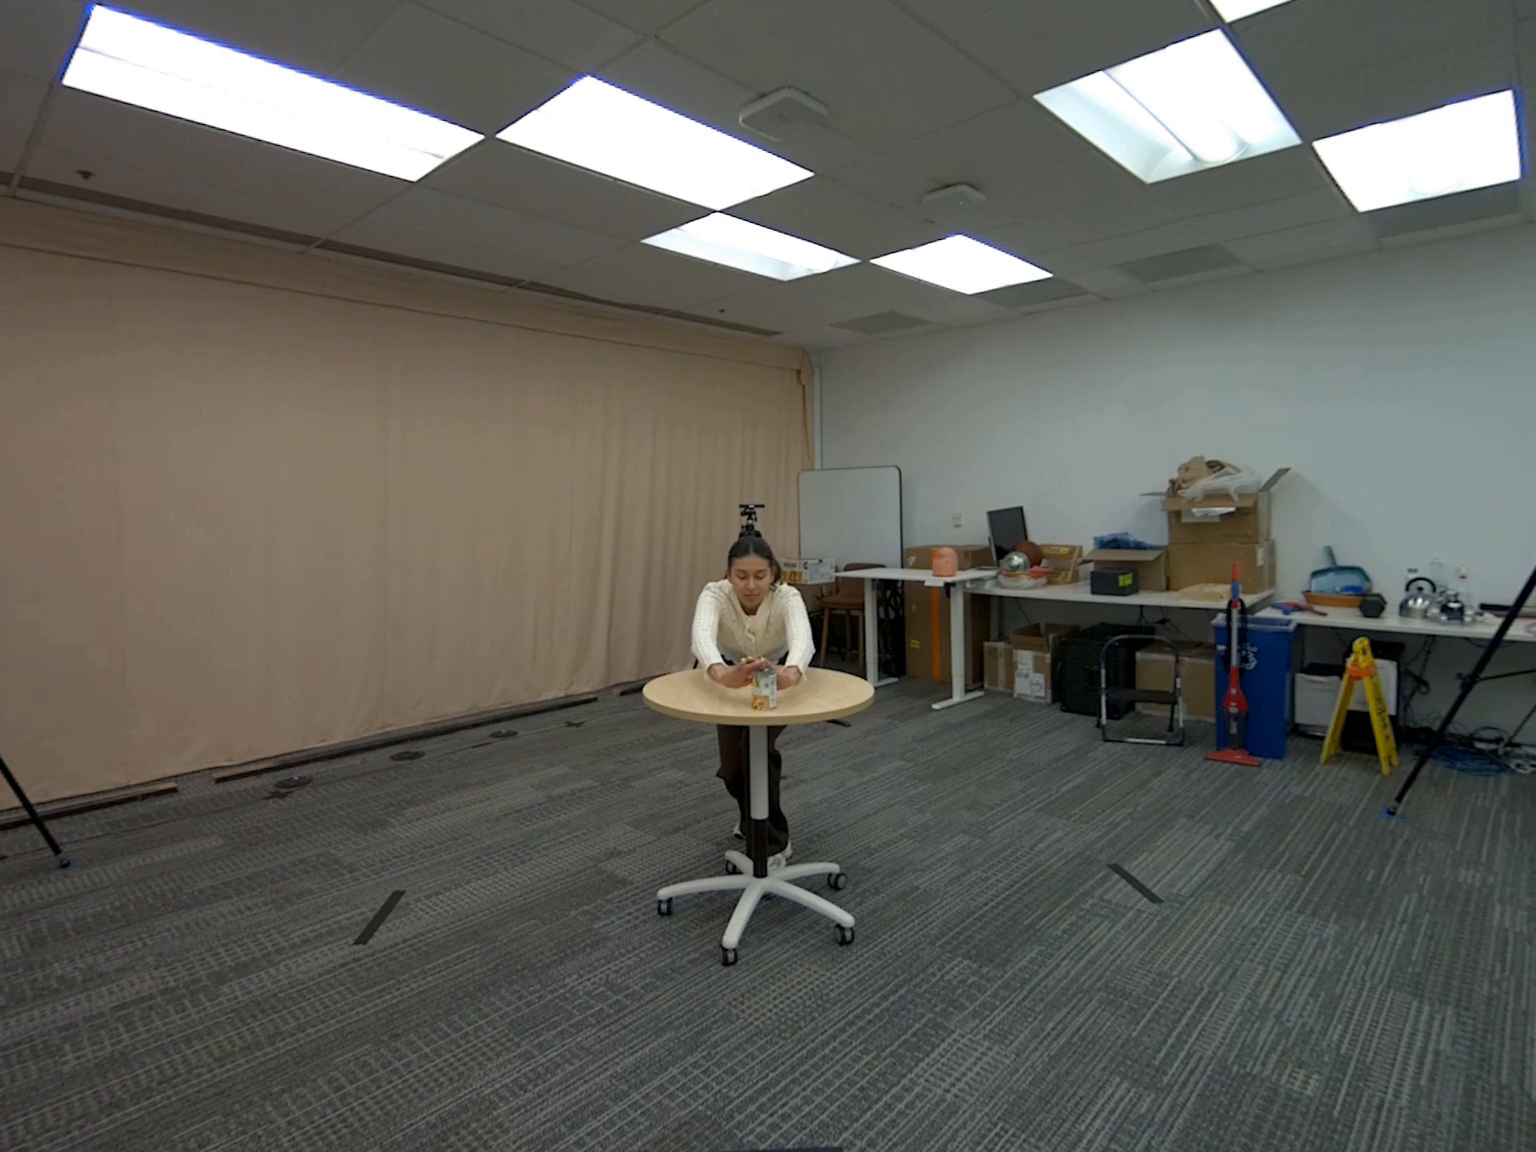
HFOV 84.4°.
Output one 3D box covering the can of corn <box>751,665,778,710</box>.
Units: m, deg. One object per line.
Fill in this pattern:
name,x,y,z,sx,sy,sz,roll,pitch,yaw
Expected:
can of corn,-0.011,0.340,2.526,0.074,0.111,0.074,-2,4,-2
